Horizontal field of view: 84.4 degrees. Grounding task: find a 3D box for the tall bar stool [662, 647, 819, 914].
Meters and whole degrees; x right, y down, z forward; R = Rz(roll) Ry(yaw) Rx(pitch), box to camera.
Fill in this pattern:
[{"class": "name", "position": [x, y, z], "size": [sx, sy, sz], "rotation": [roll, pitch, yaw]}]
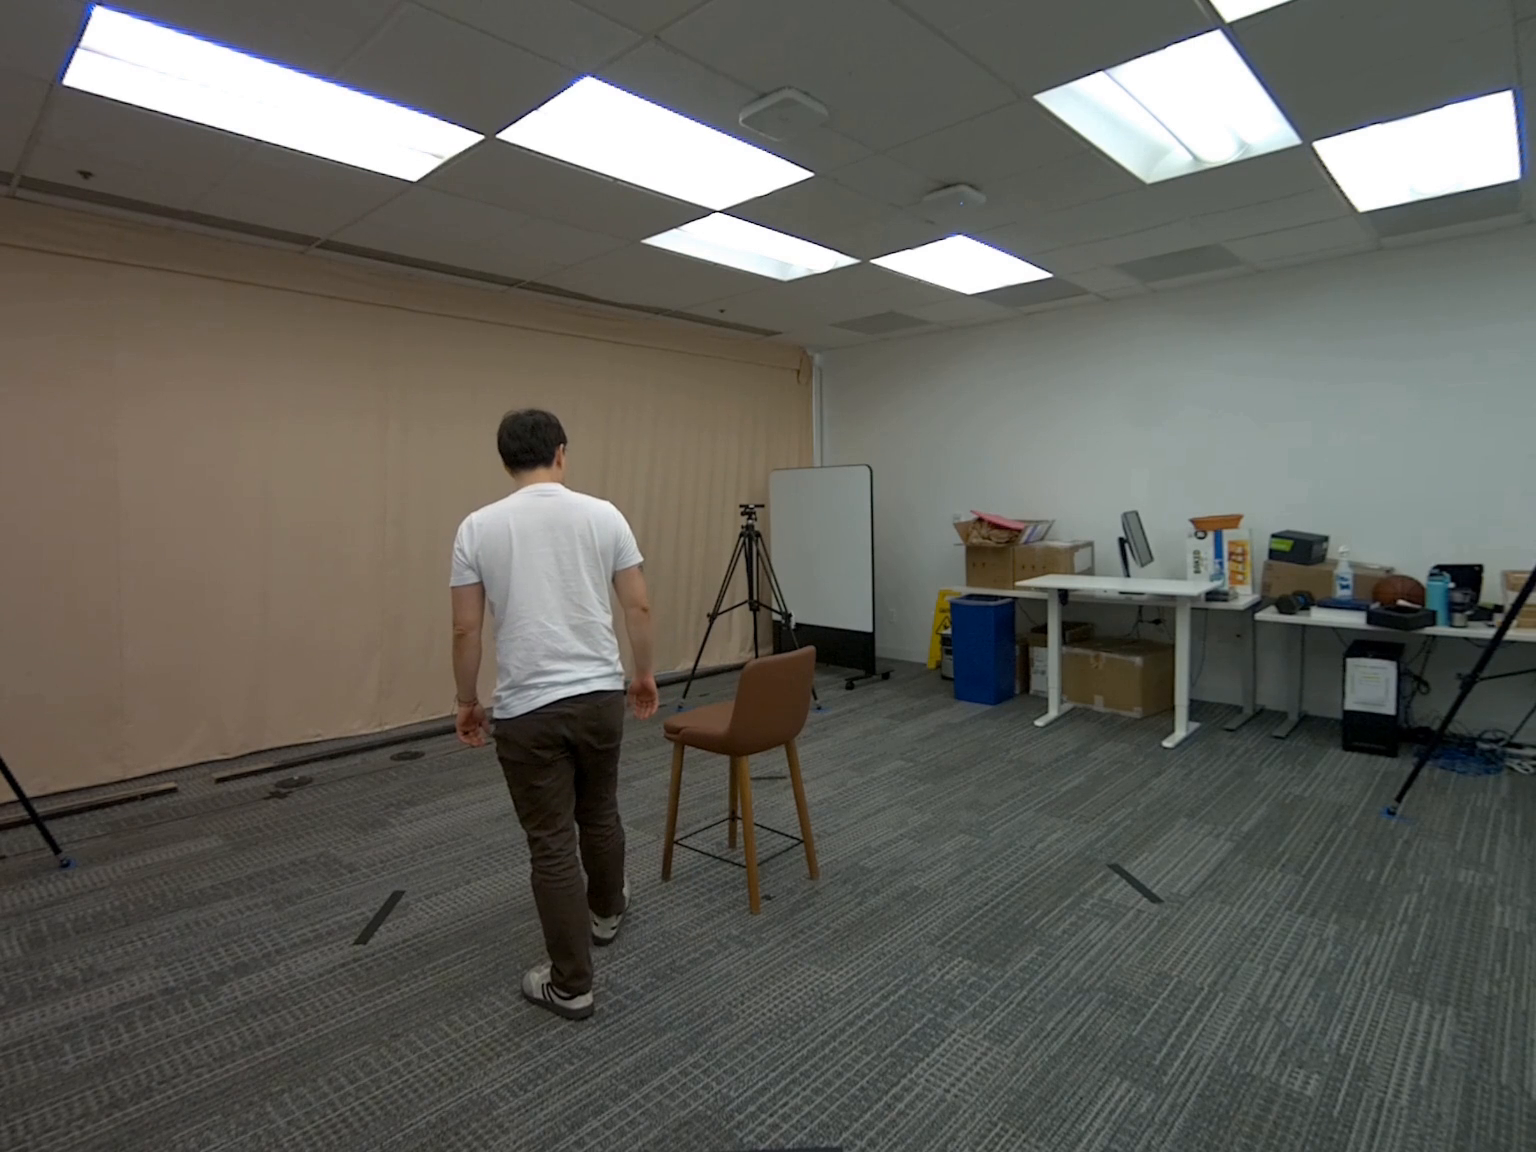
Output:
[{"class": "tall bar stool", "position": [-0.100, 0.694, 3.117], "size": [0.483, 0.887, 0.443], "rotation": [5, 6, 40]}]
